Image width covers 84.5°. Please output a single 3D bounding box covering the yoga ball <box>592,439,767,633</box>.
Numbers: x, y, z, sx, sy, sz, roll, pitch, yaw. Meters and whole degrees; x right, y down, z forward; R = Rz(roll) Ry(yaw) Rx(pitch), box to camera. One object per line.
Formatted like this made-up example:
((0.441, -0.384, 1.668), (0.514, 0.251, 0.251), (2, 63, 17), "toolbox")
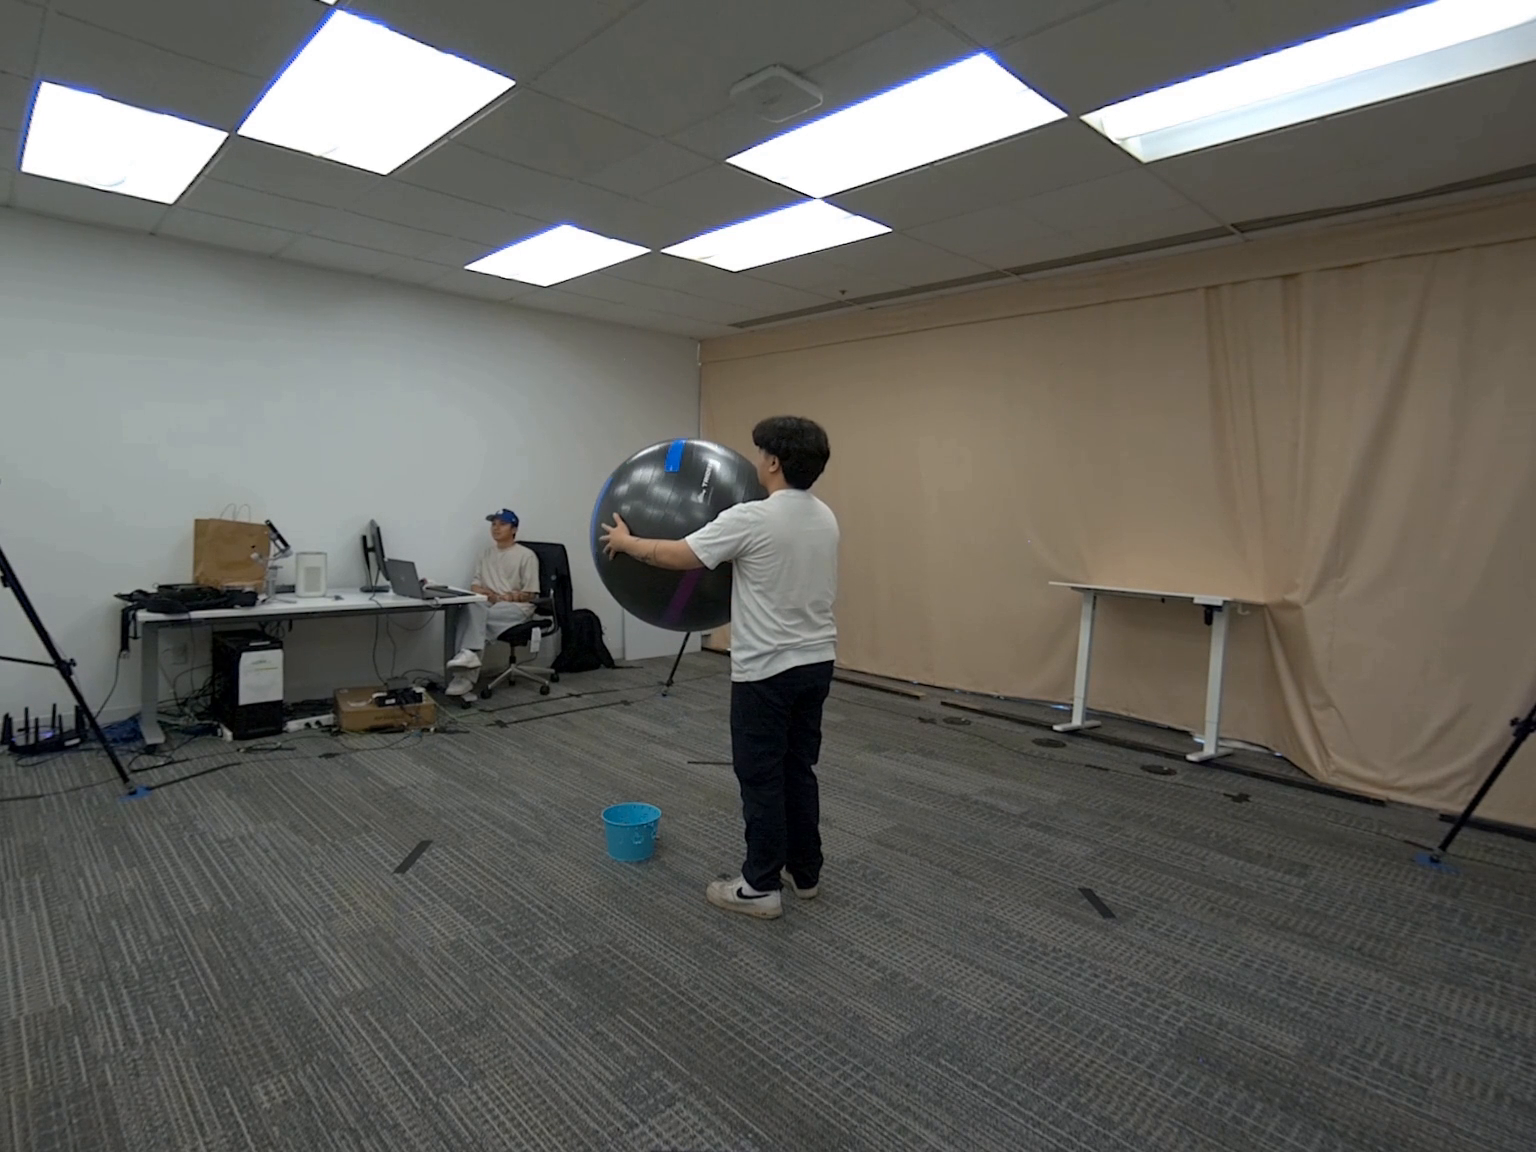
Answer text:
((-0.328, -0.154, 3.309), (0.757, 0.756, 0.760), (1, 4, -1), "yoga ball")
